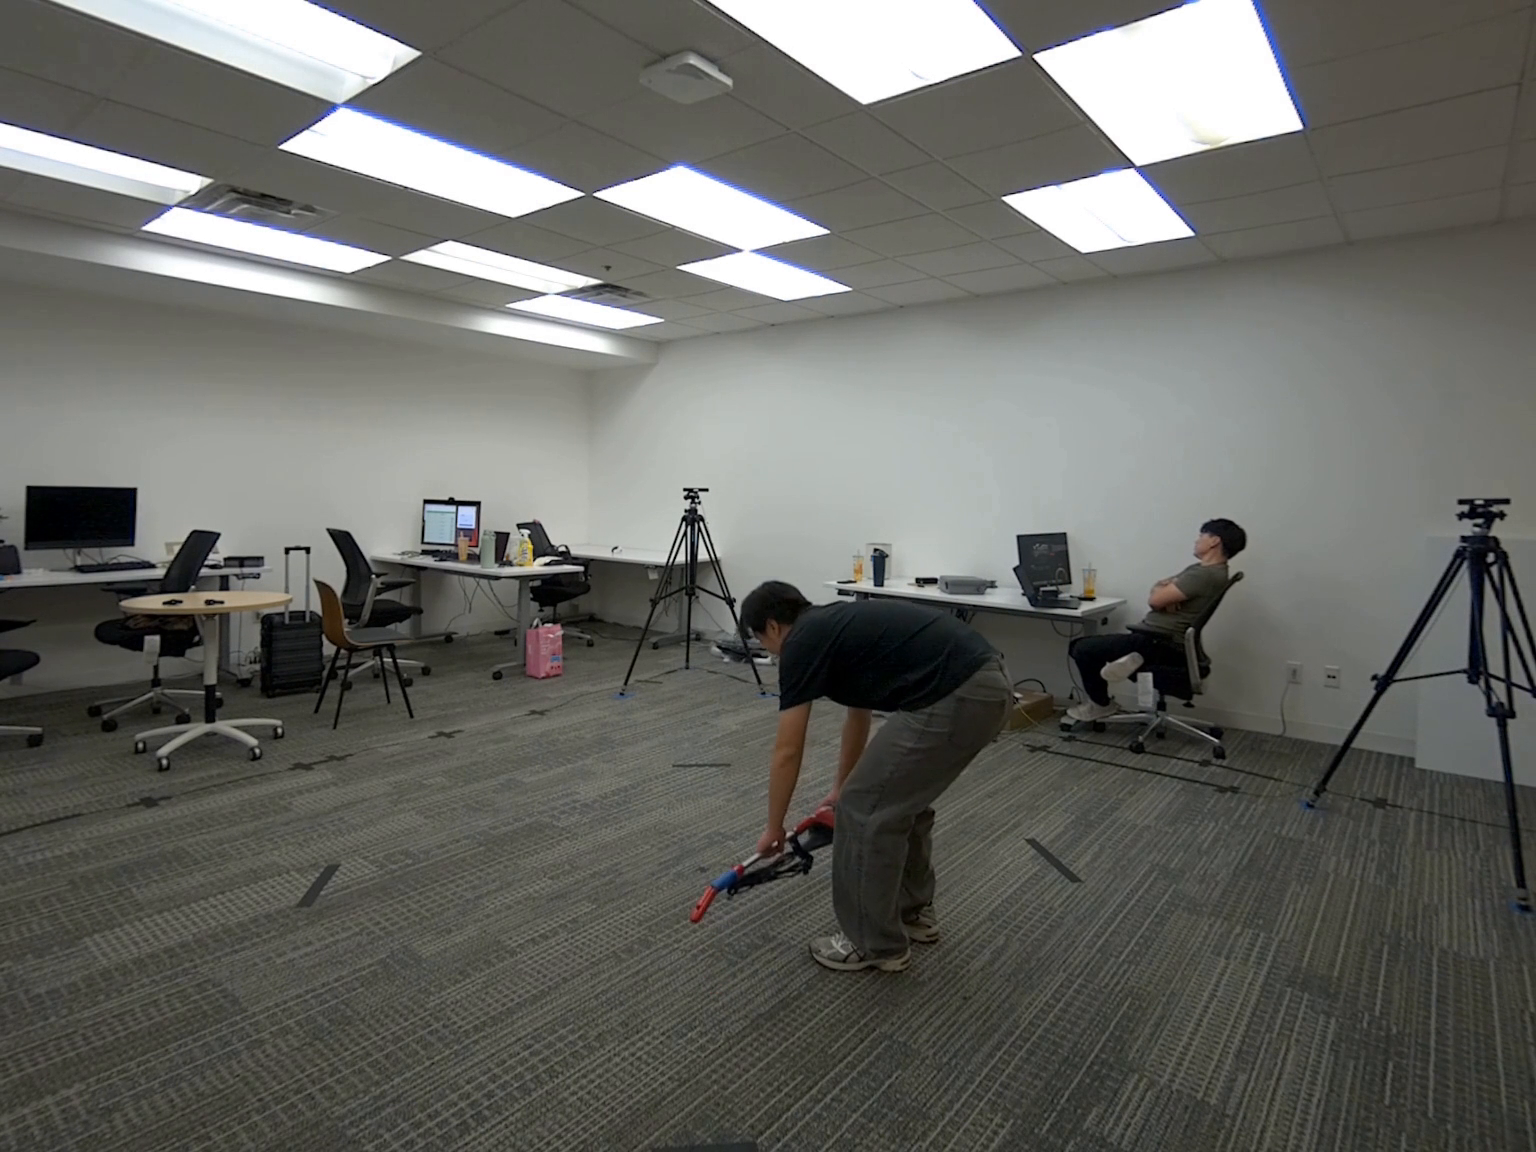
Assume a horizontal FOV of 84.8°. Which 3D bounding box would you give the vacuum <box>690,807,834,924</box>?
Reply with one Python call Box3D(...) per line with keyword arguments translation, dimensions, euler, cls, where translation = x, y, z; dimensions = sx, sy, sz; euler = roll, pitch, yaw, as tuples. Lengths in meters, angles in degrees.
Box3D(translation=(0.069, 0.864, 2.705), dimensions=(0.260, 0.143, 1.022), euler=(-2, 5, 35), cls="vacuum")
